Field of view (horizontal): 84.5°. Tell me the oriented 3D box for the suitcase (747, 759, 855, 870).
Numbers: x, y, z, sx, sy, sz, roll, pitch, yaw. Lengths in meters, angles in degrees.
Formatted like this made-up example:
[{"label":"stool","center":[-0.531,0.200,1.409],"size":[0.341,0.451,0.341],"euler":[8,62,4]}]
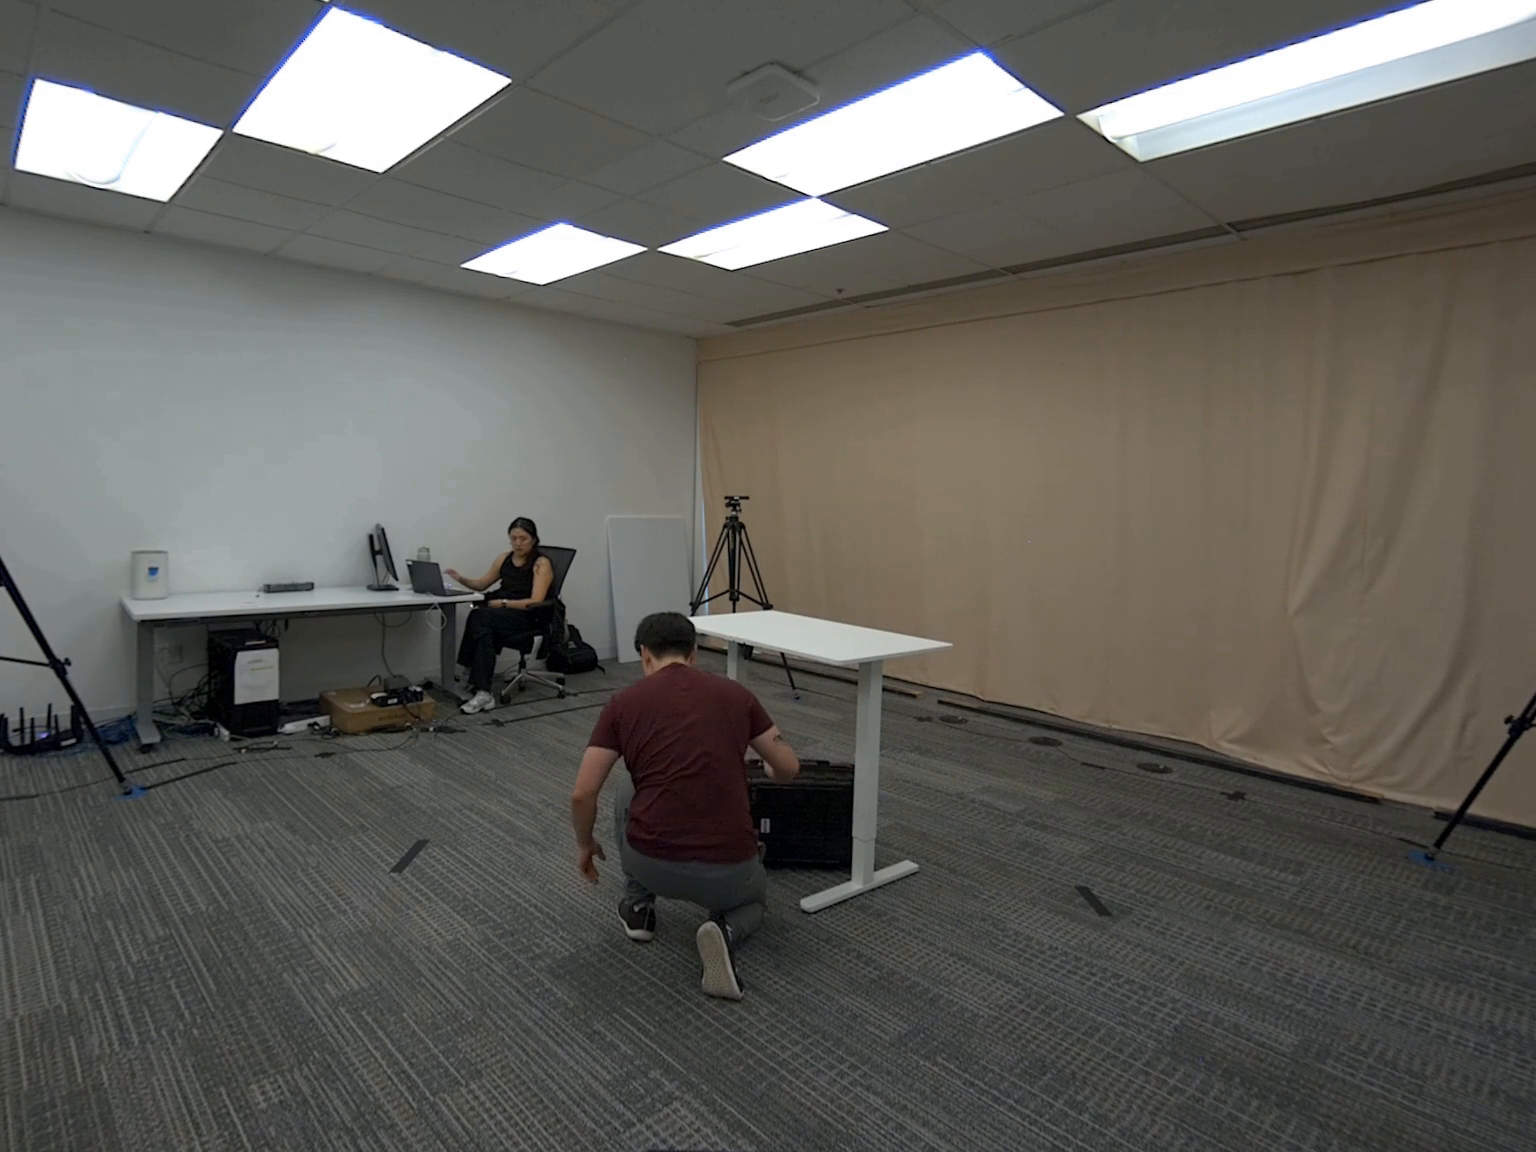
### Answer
[{"label":"suitcase","center":[-0.099,0.904,3.231],"size":[0.977,0.383,0.258],"euler":[1,3,-1]}]
